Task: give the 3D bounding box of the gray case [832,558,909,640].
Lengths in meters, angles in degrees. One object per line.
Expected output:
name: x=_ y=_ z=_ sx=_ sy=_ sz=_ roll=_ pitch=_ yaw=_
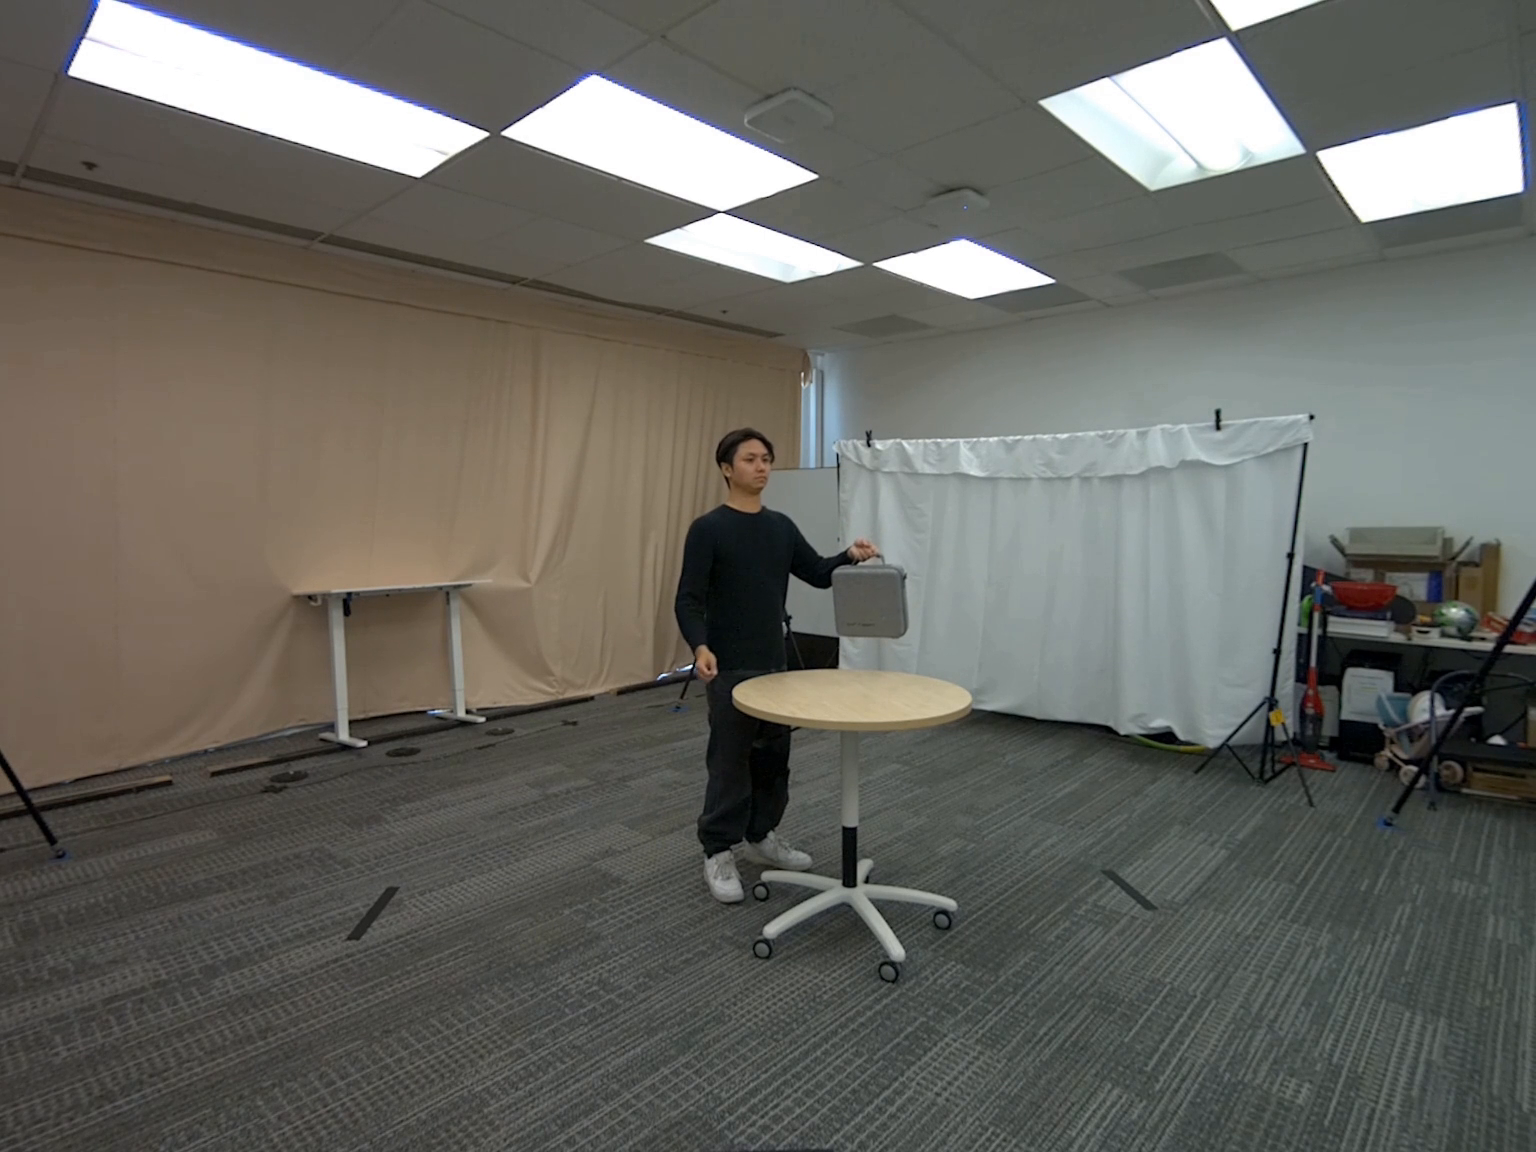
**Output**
gray case: x=0.364 y=0.085 z=2.997 sx=0.263 sy=0.259 sz=0.102 roll=-1 pitch=8 yaw=27
